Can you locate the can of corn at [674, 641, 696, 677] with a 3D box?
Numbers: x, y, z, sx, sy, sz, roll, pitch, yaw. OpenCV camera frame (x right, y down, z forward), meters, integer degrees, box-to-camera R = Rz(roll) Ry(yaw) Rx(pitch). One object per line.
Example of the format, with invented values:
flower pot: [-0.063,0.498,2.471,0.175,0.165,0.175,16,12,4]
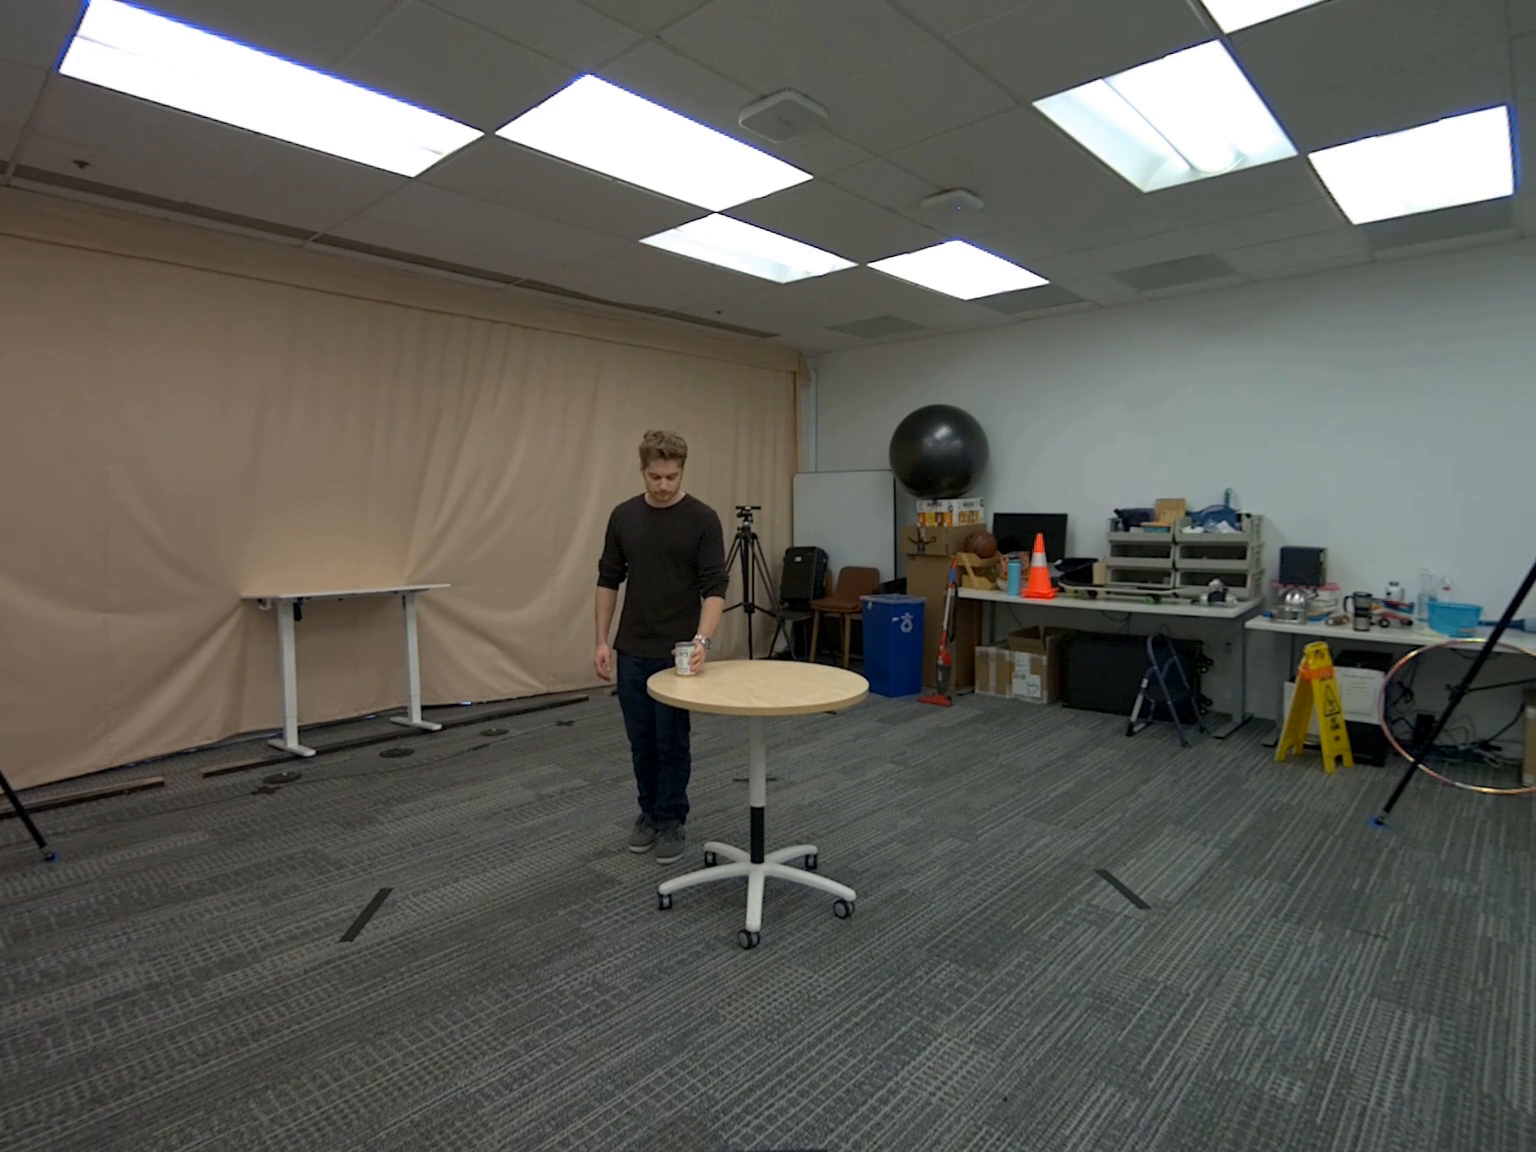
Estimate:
can of corn: [-0.290,0.301,3.022,0.074,0.111,0.074,-2,2,-2]
